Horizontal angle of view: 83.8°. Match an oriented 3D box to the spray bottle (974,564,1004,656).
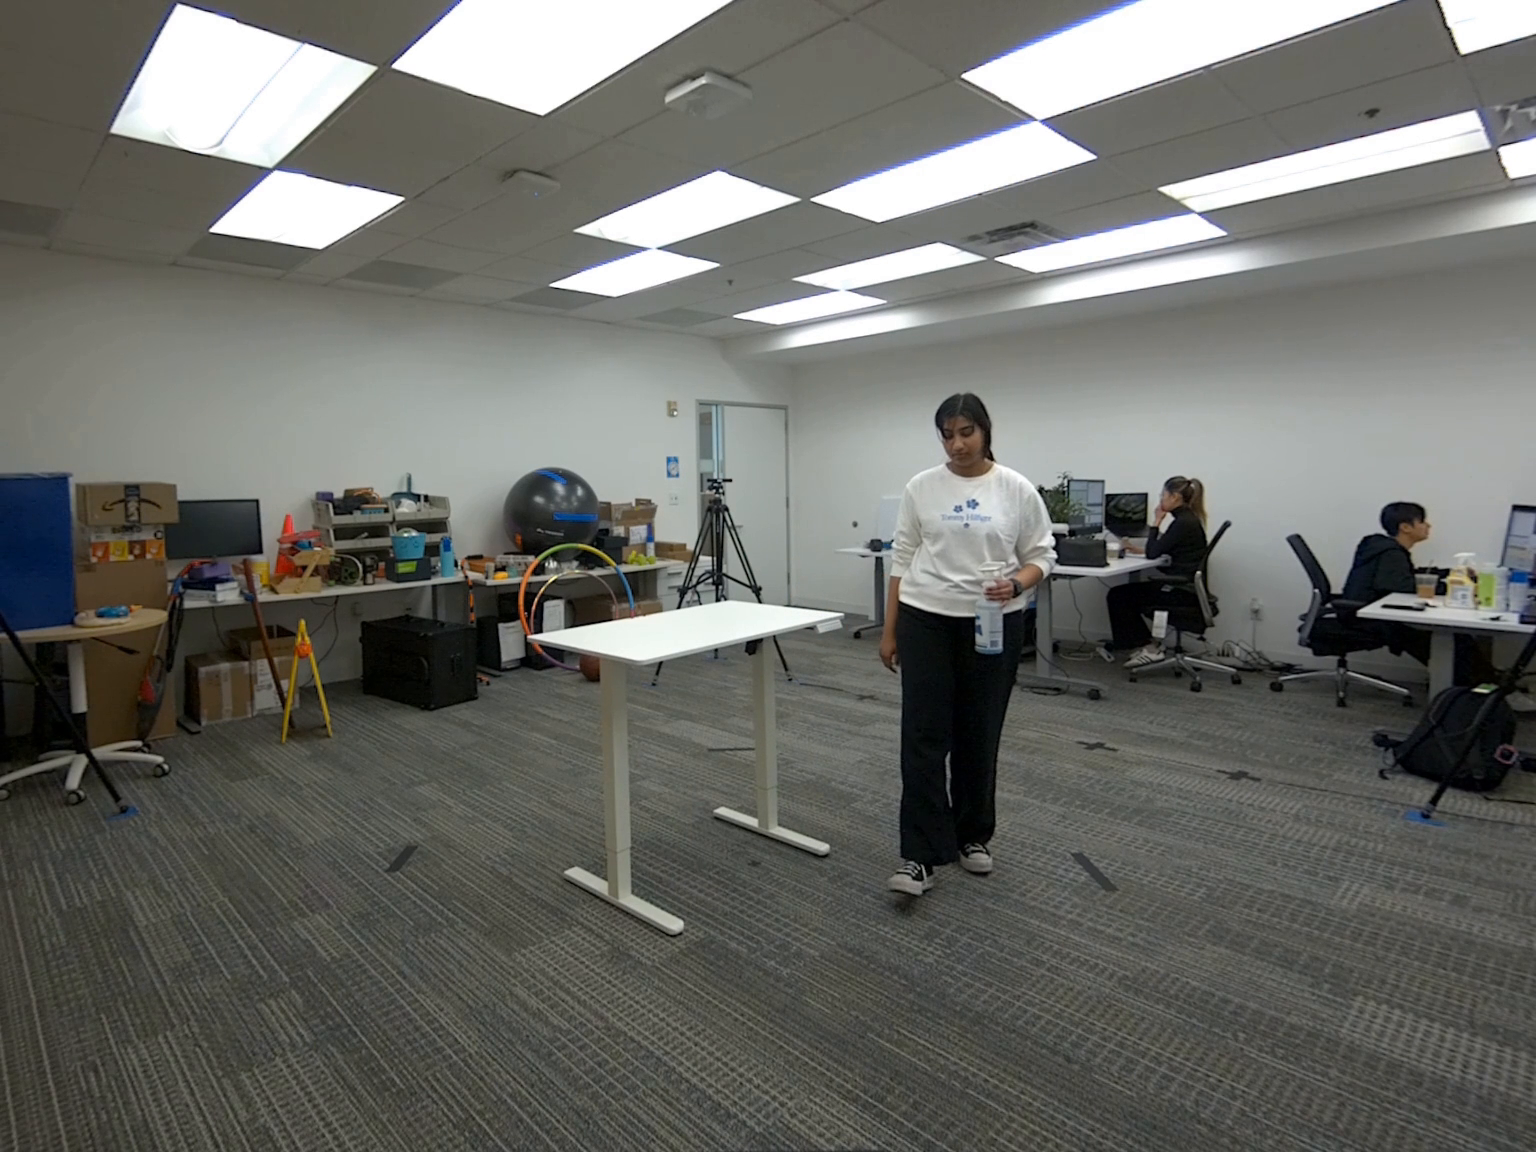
[{"bbox_3d":[0.727,0.102,2.797,0.085,0.296,0.093,-3,5,-35],"label":"spray bottle"}]
